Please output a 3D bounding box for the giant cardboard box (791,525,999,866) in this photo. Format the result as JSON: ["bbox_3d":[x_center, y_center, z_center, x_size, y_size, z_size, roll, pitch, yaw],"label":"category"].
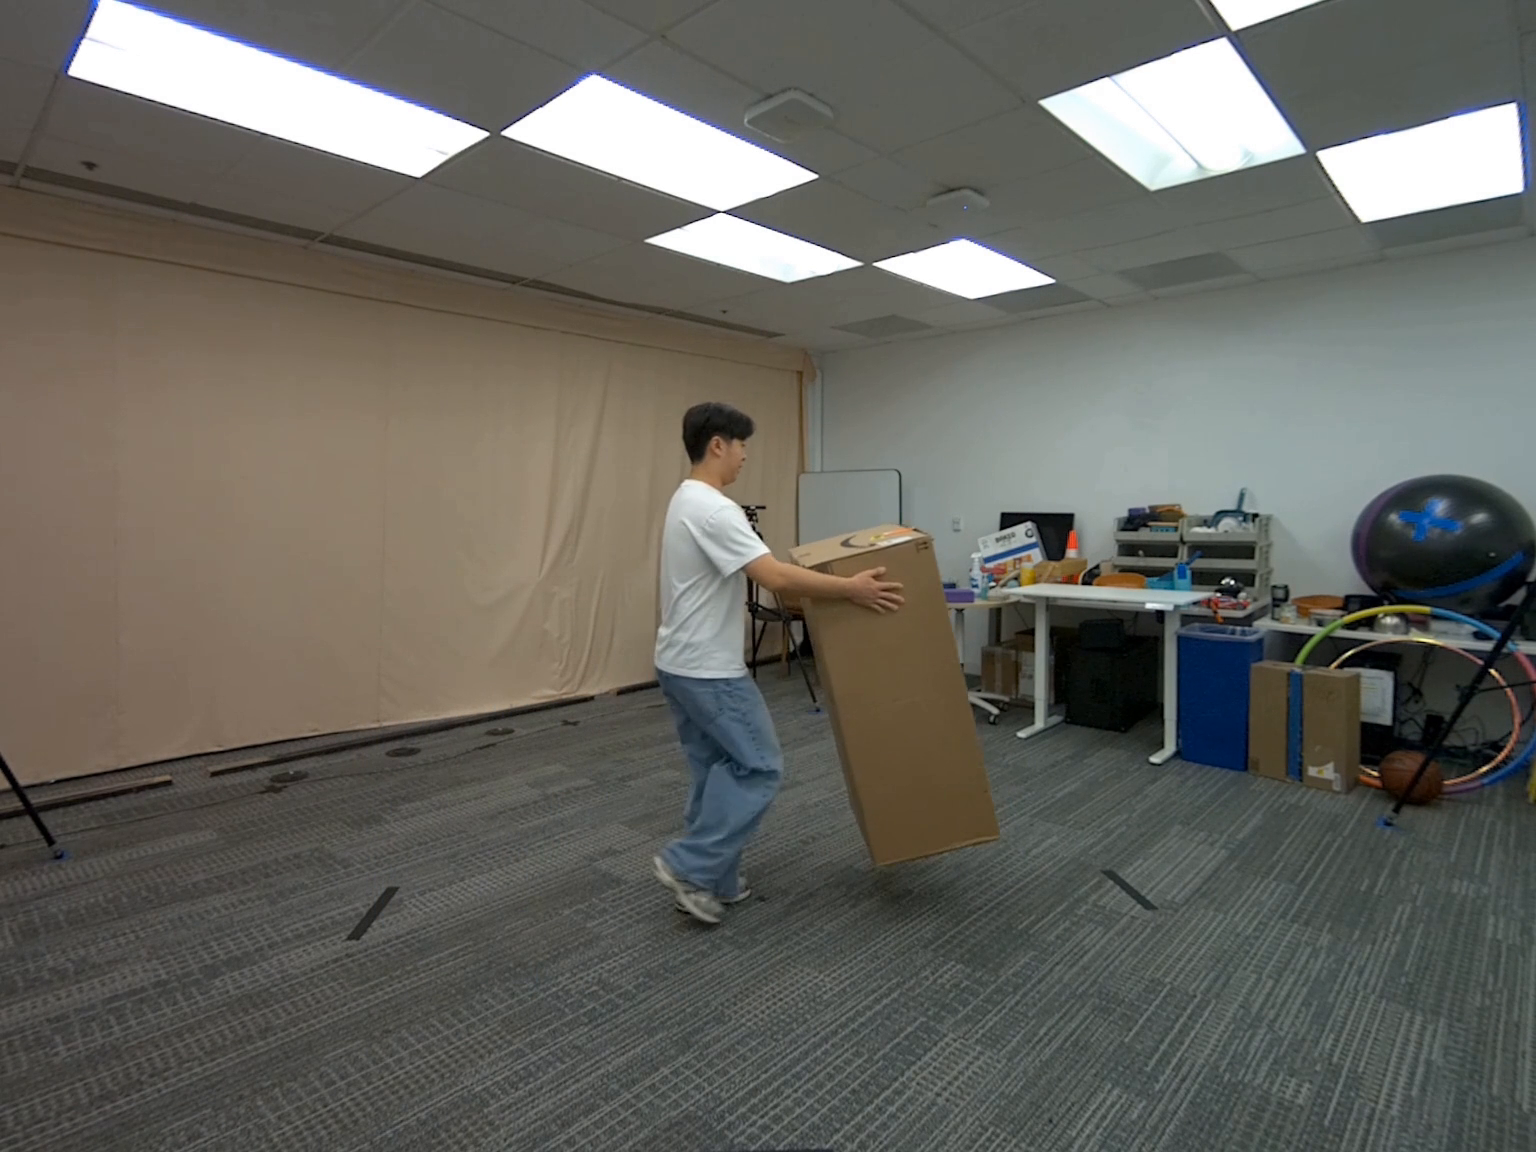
[{"bbox_3d":[0.421,0.384,2.969,0.426,1.021,0.581,-14,5,-2],"label":"giant cardboard box"}]
